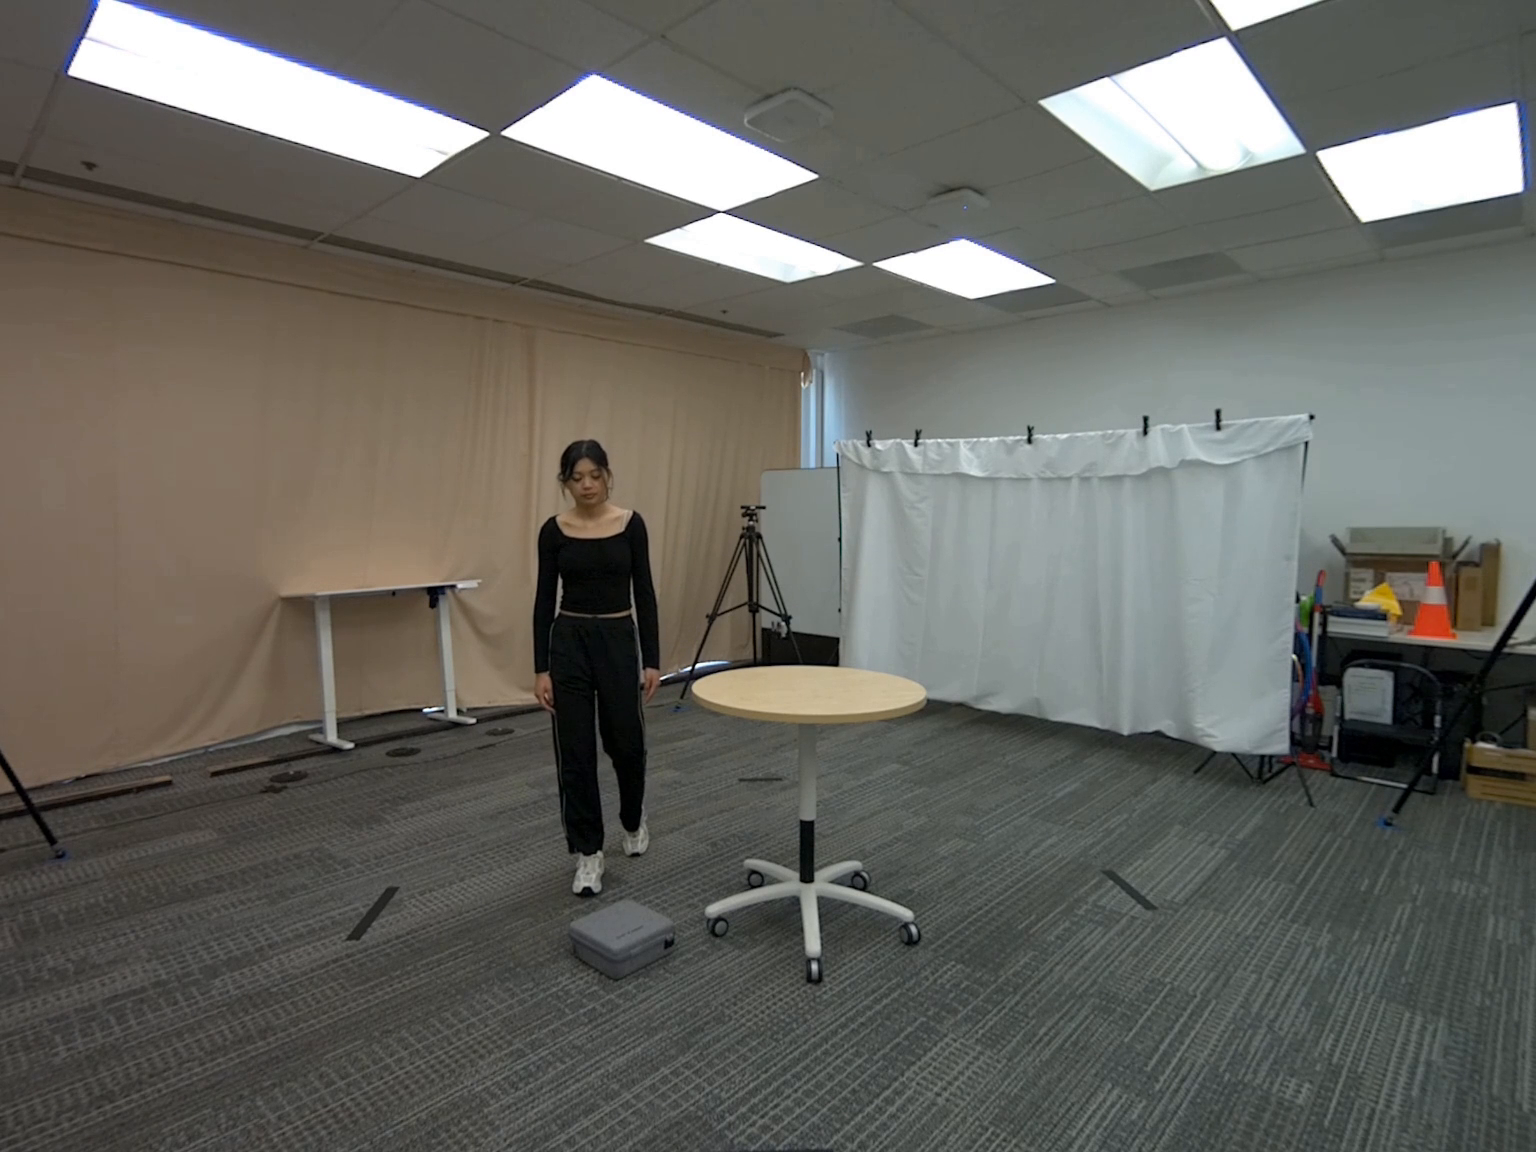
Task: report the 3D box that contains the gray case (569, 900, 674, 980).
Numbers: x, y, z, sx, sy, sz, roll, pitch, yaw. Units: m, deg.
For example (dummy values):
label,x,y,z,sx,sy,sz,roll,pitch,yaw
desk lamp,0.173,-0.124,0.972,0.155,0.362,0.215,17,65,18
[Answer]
label,x,y,z,sx,sy,sz,roll,pitch,yaw
gray case,-0.455,1.120,2.621,0.269,0.104,0.249,2,6,43
